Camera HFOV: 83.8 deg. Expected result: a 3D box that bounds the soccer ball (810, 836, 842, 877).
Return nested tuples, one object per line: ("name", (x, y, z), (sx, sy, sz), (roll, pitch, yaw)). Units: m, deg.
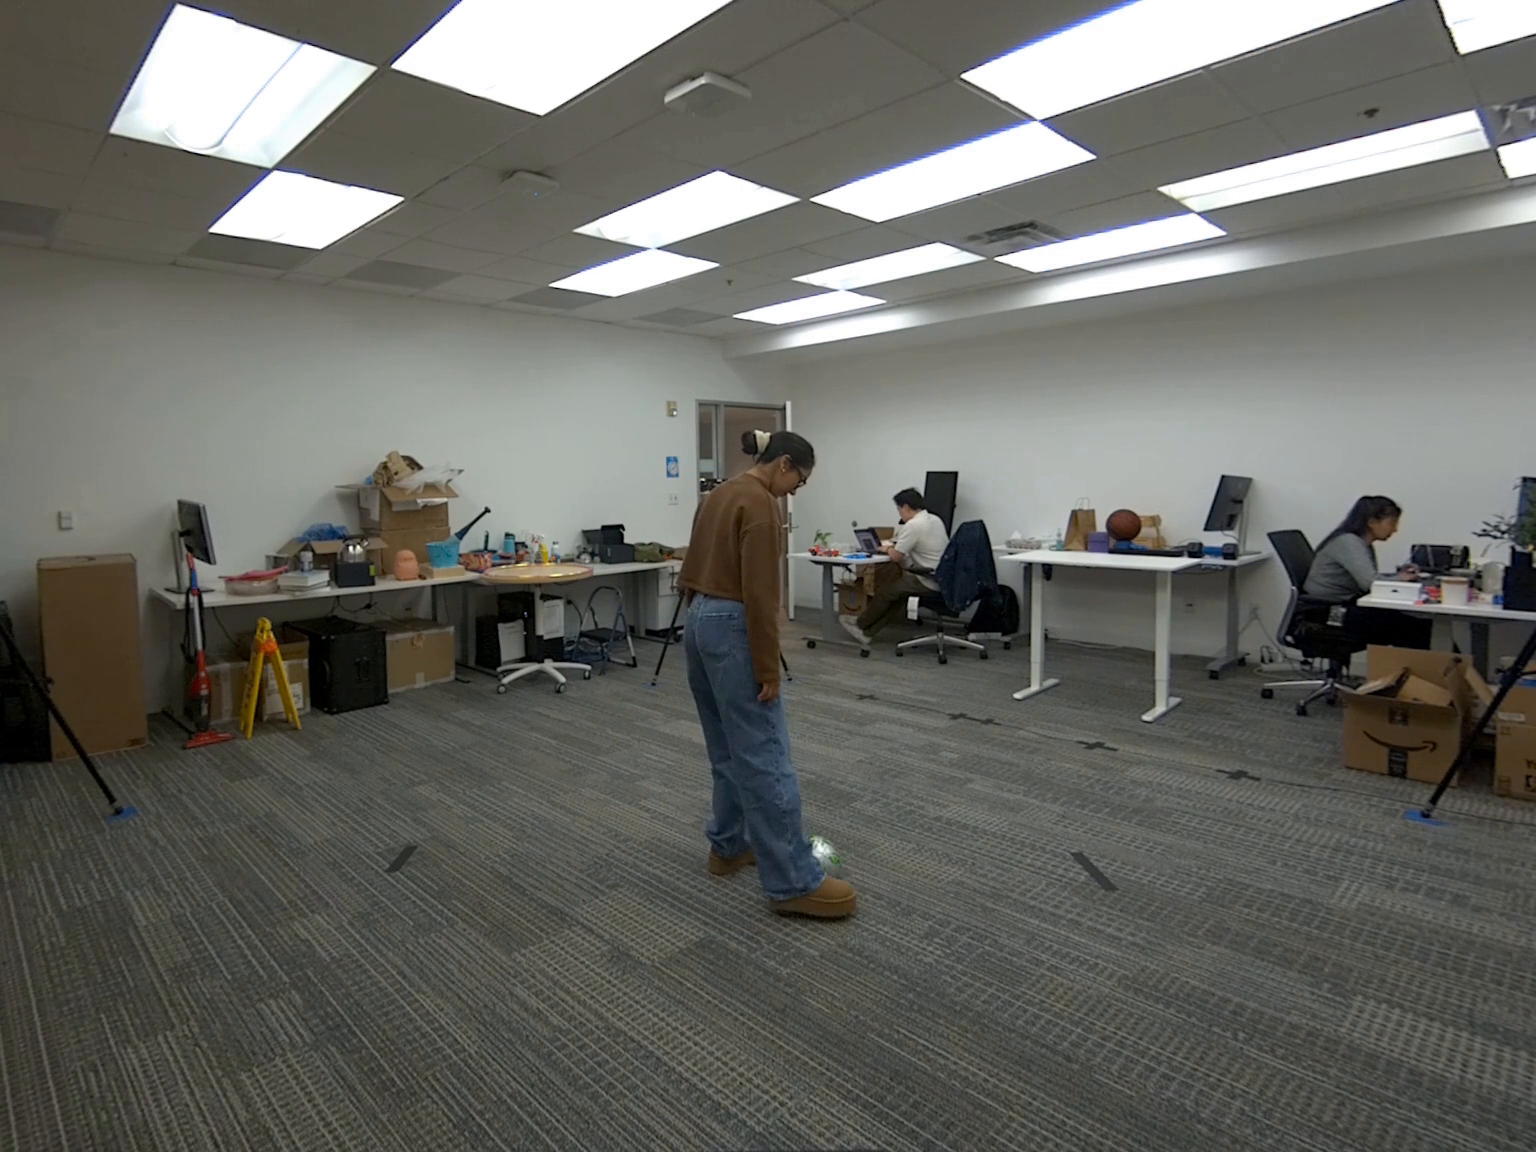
("soccer ball", (0.168, 0.969, 2.895), (0.187, 0.187, 0.188), (-1, 5, -2))
